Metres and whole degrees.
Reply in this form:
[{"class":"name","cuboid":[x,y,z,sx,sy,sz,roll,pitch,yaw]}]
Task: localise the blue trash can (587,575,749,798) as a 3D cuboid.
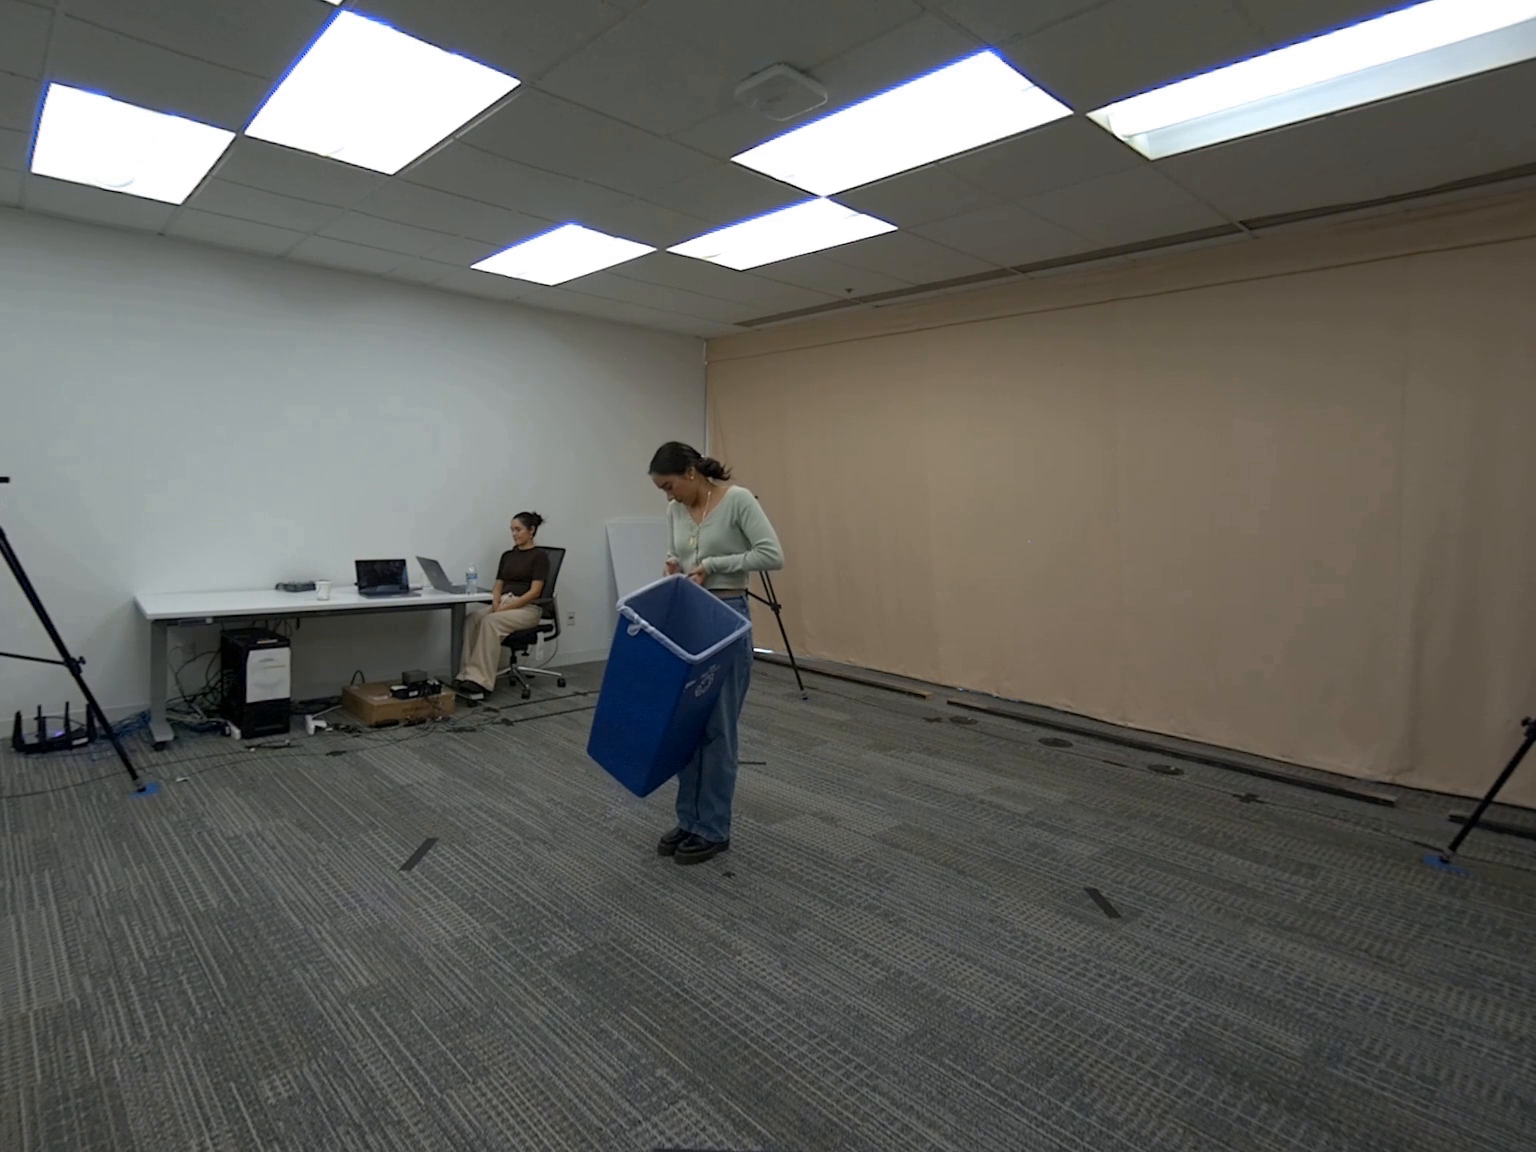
[{"class":"blue trash can","cuboid":[-0.400,0.414,3.099,0.387,0.706,0.370,34,32,22]}]
